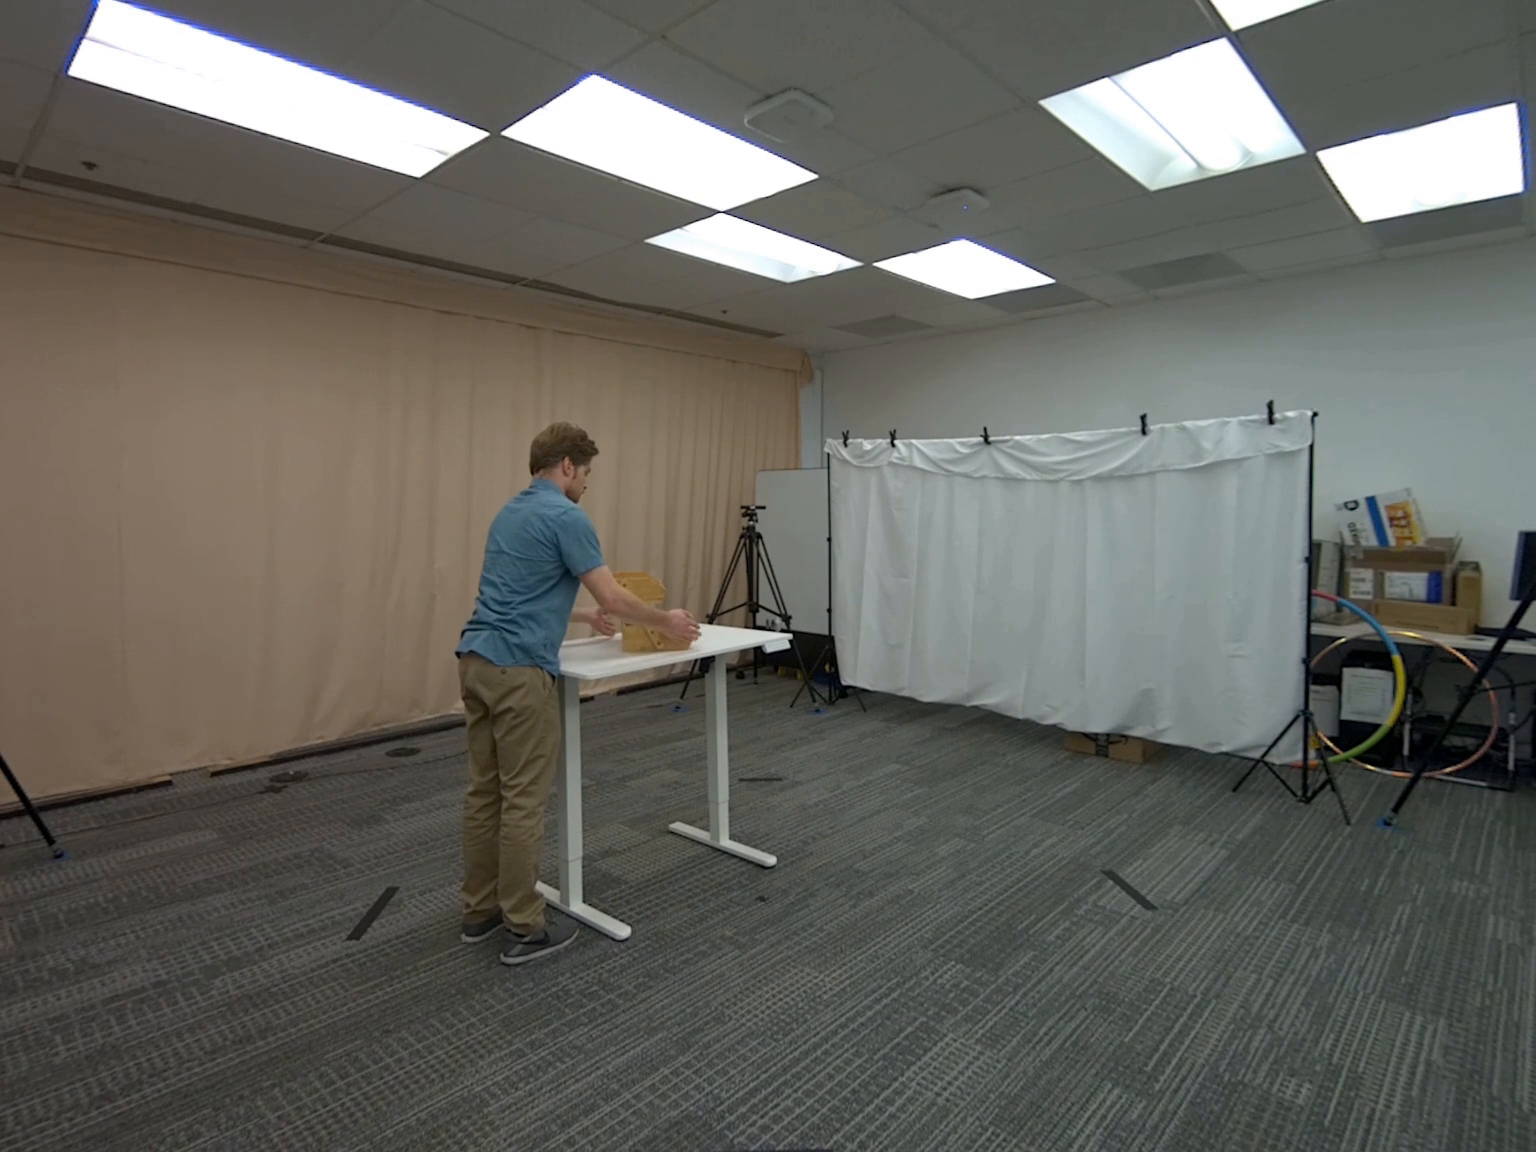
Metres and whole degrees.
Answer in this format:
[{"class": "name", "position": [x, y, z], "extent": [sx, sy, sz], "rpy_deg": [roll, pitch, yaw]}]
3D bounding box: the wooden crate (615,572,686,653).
[{"class": "wooden crate", "position": [-0.444, 0.128, 3.107], "extent": [0.300, 0.273, 0.327], "rpy_deg": [0, 3, -7]}]
